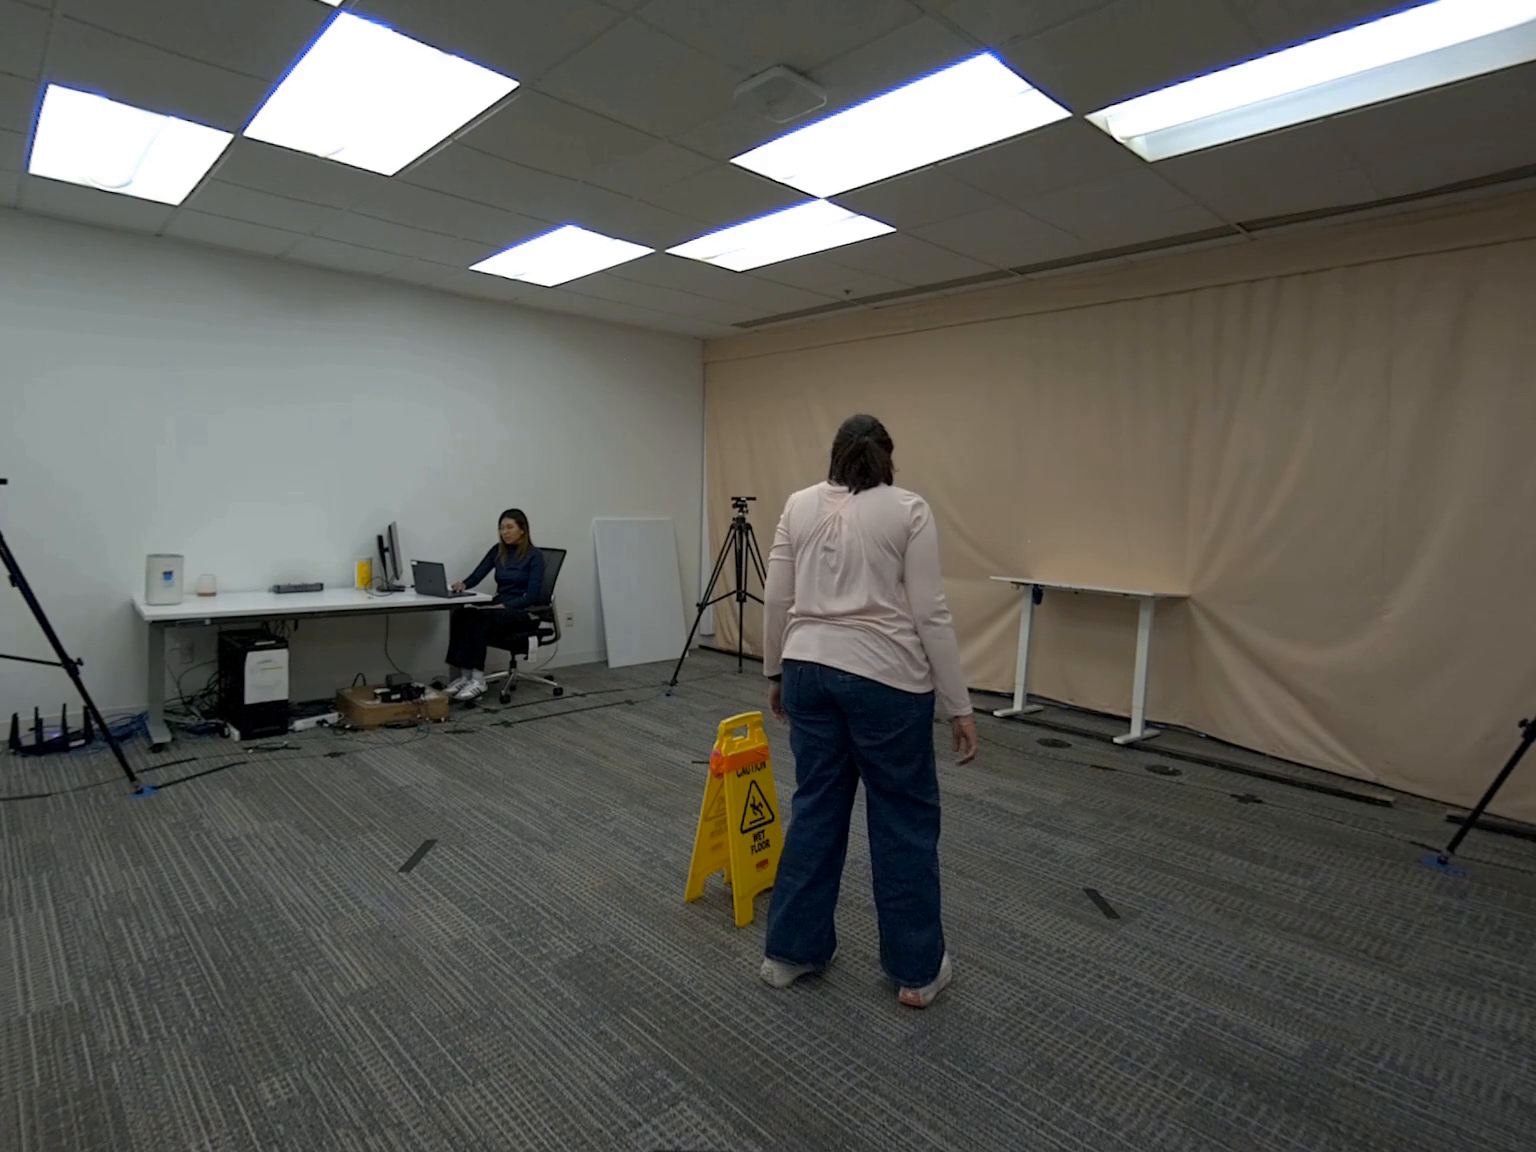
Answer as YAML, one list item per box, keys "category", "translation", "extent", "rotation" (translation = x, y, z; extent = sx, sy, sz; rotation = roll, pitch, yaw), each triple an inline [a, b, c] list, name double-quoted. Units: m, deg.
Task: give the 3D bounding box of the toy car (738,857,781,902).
- category: "toy car"
  translation: [0.031, 1.090, 3.062]
  extent: [0.134, 0.083, 0.247]
  rotation: [7, -2, 45]
